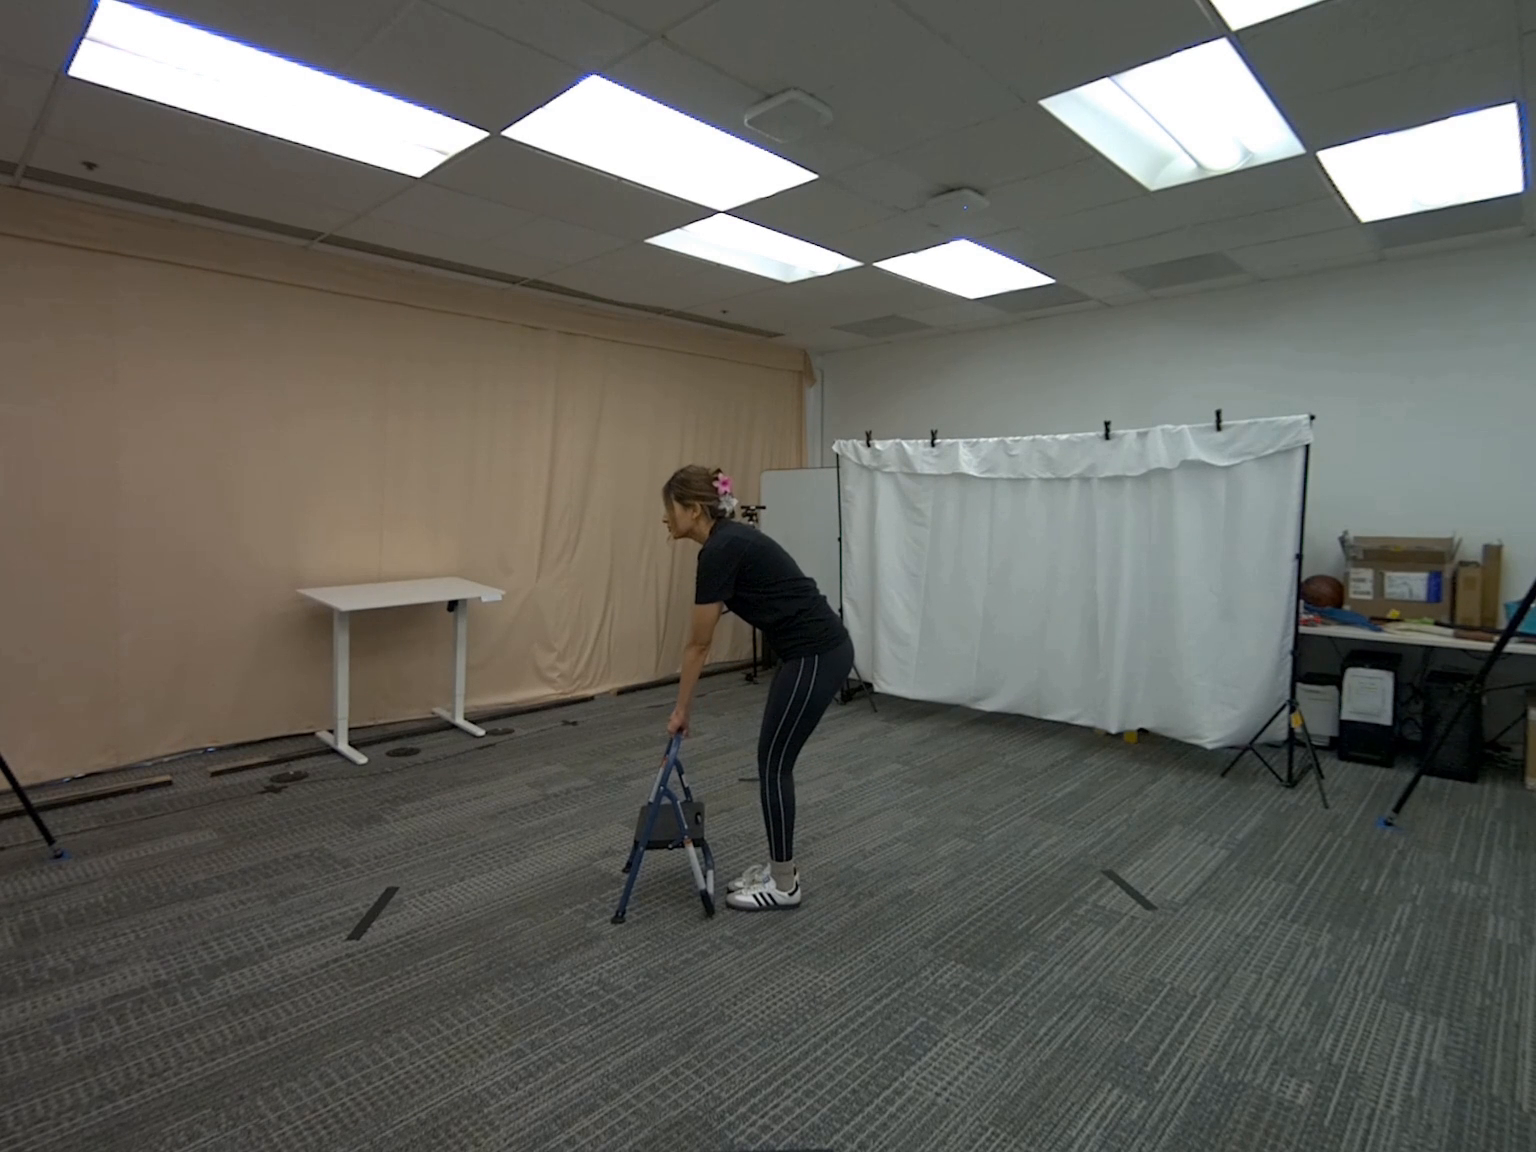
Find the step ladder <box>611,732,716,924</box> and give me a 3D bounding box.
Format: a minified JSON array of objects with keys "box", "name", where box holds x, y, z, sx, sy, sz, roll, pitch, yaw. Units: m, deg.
[{"box":[-0.375,0.839,3.017,0.348,0.604,0.433,-3,4,-4],"name":"step ladder"}]
